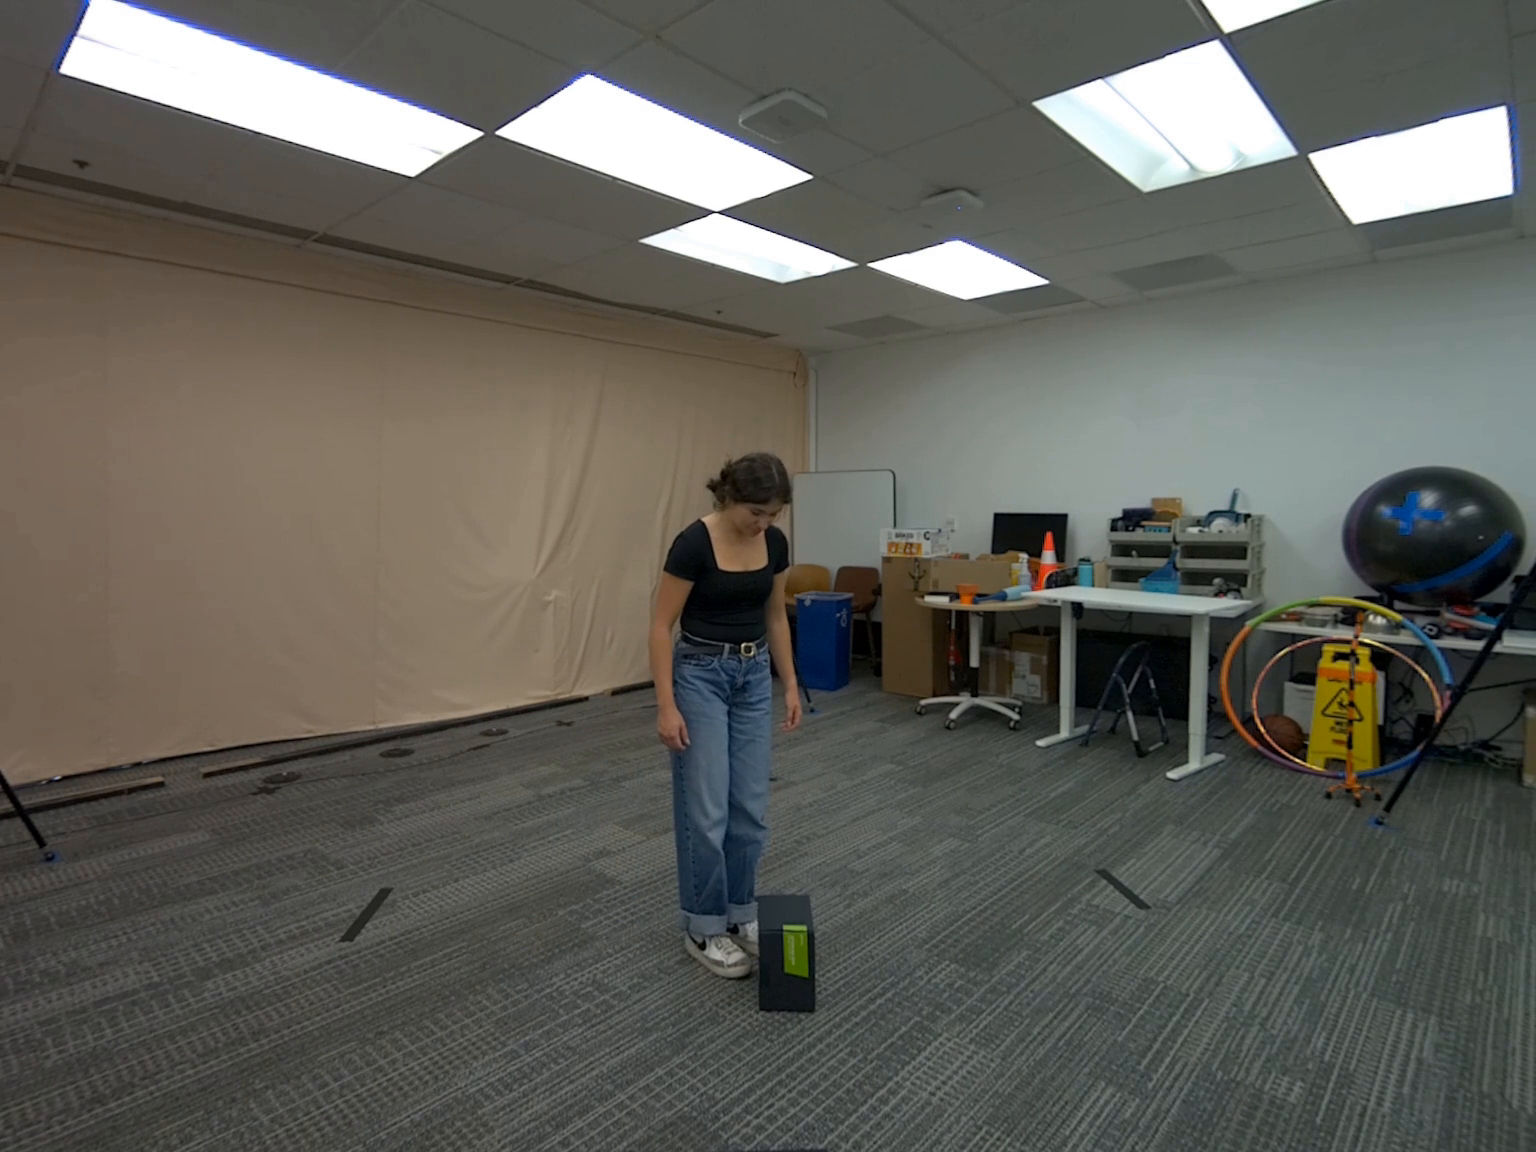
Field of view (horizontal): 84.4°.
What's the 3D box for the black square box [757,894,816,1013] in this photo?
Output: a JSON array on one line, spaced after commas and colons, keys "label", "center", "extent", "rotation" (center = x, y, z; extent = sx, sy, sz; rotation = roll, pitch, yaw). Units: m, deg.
[{"label": "black square box", "center": [0.054, 1.072, 2.408], "extent": [0.156, 0.227, 0.217], "rotation": [0, 4, -1]}]
